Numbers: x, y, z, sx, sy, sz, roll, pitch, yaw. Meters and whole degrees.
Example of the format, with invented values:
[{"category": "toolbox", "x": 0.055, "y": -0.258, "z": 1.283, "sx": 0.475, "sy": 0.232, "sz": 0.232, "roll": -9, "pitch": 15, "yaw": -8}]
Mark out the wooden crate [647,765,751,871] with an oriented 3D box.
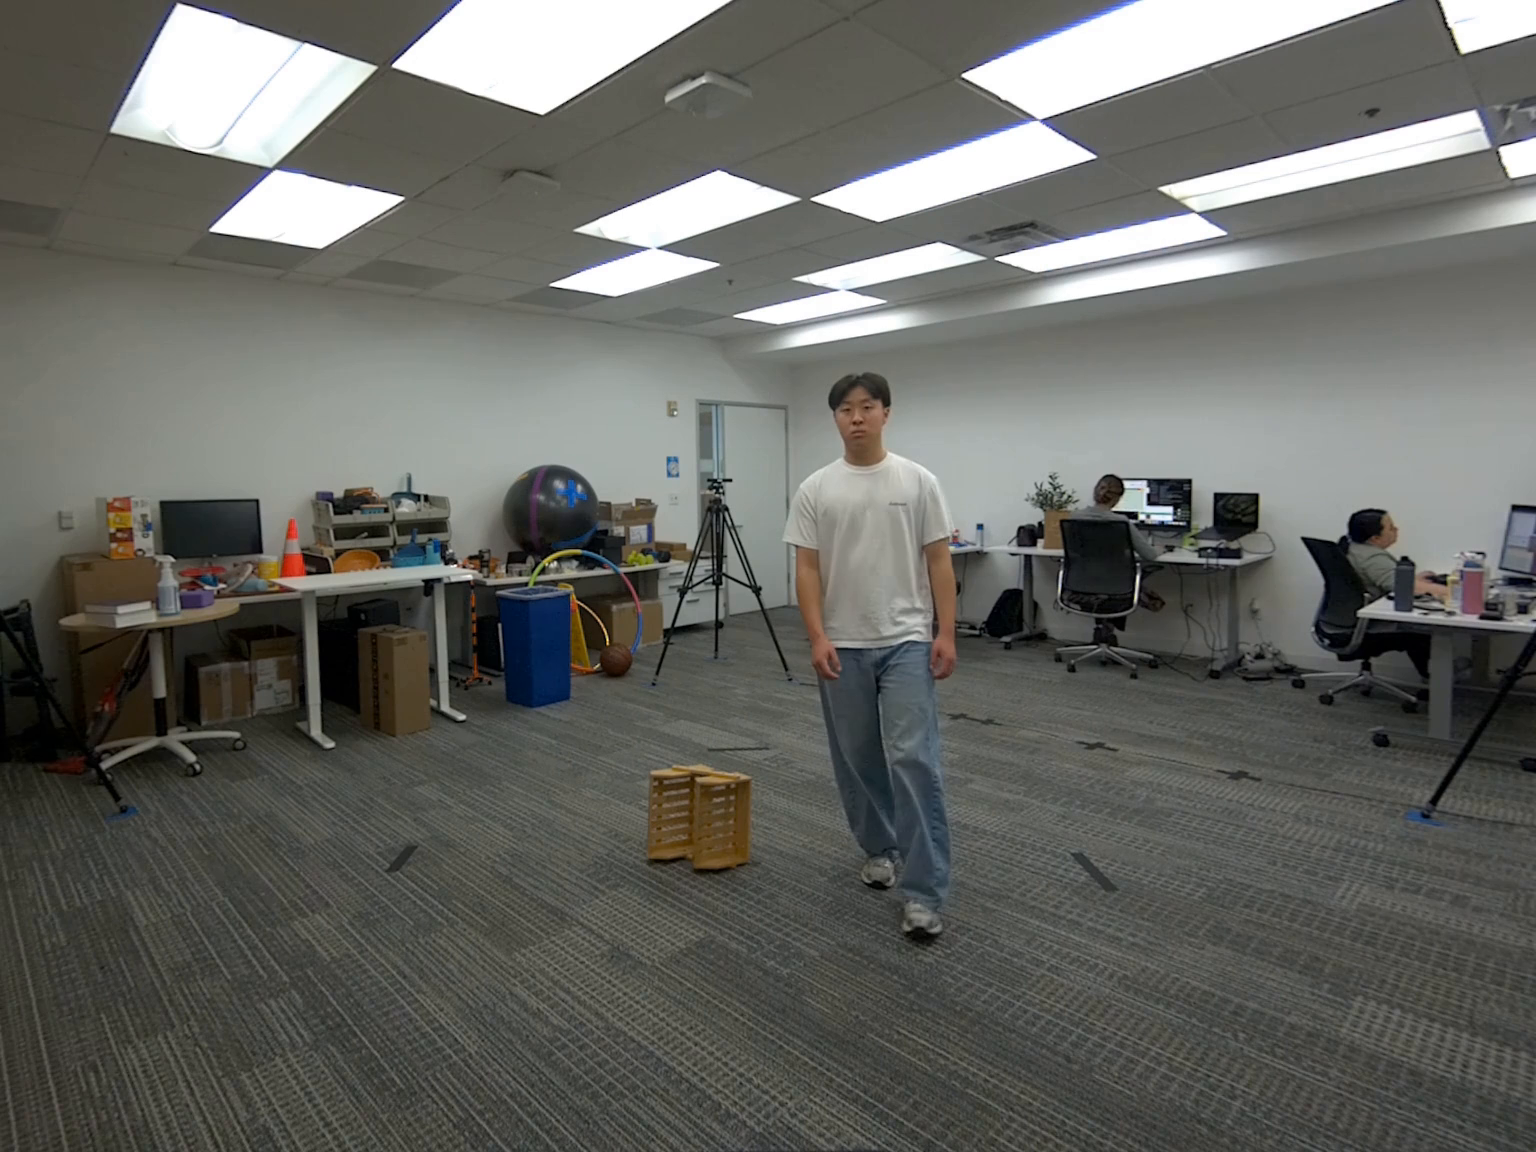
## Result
[{"category": "wooden crate", "x": -0.256, "y": 0.880, "z": 3.127, "sx": 0.293, "sy": 0.325, "sz": 0.281, "roll": 2, "pitch": -2, "yaw": -38}]
